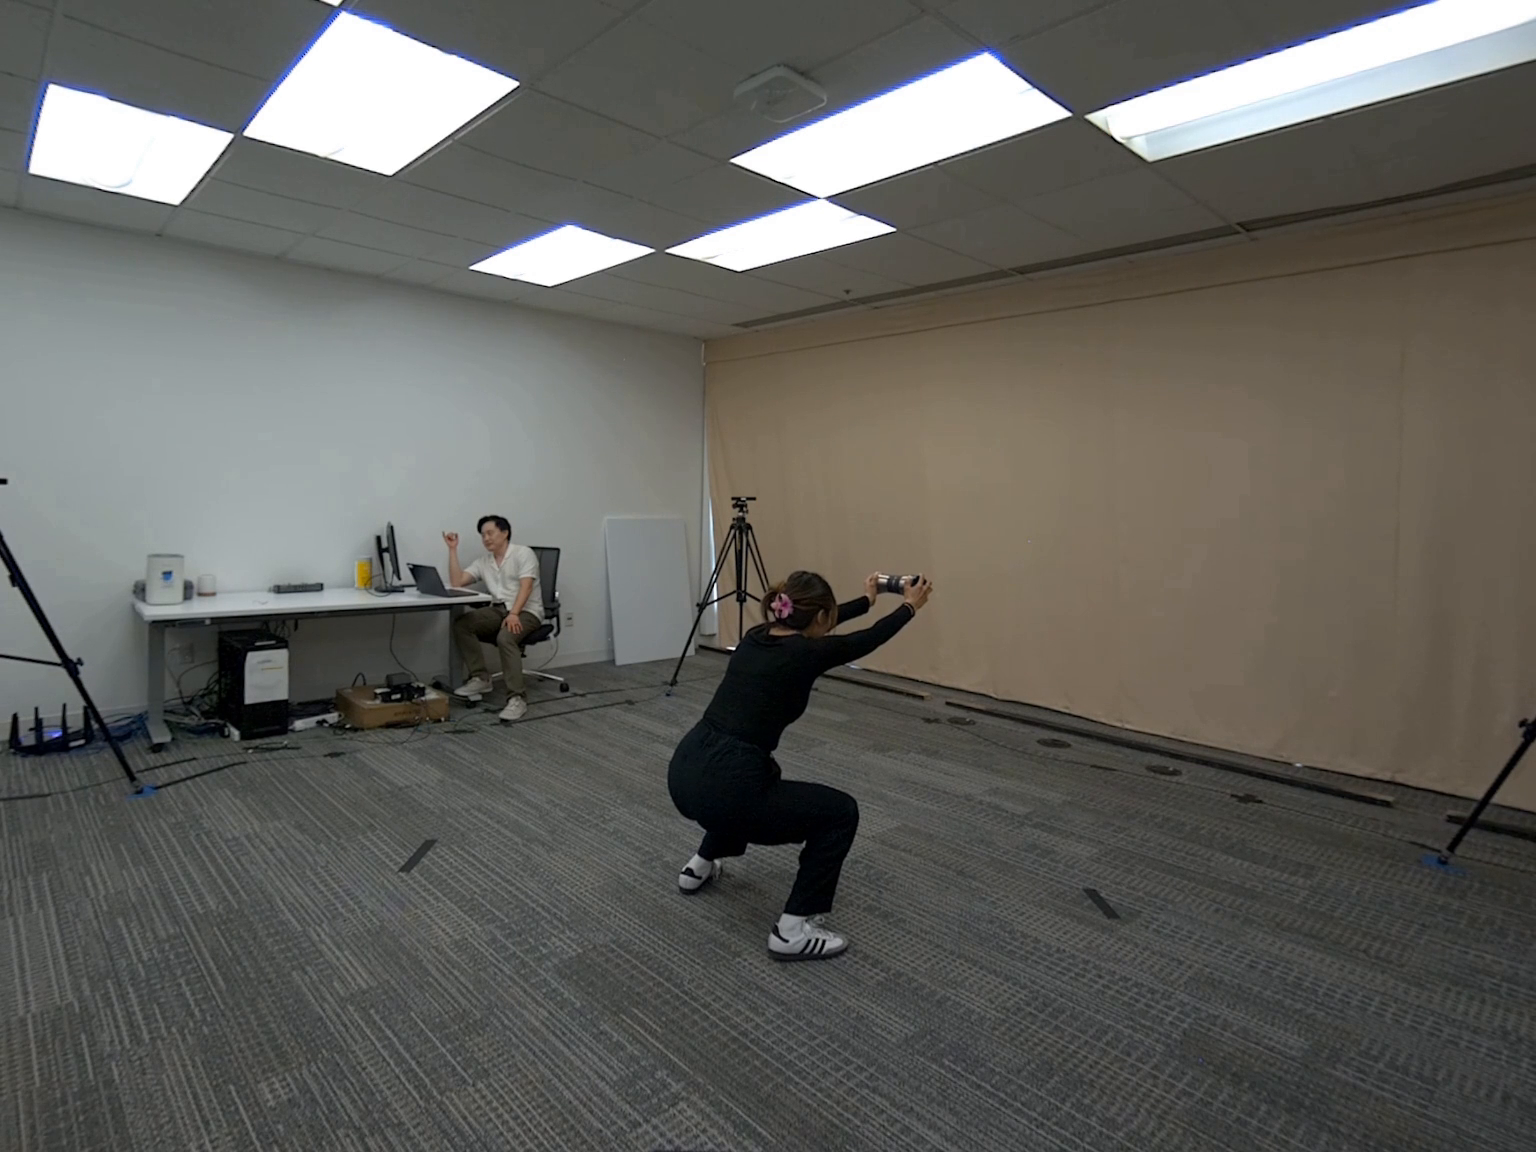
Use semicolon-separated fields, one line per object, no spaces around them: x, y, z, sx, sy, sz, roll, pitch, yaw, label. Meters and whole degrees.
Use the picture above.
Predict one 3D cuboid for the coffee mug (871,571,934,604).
0.507;0.043;3.243;0.119;0.088;0.208;6;3;-35;coffee mug
